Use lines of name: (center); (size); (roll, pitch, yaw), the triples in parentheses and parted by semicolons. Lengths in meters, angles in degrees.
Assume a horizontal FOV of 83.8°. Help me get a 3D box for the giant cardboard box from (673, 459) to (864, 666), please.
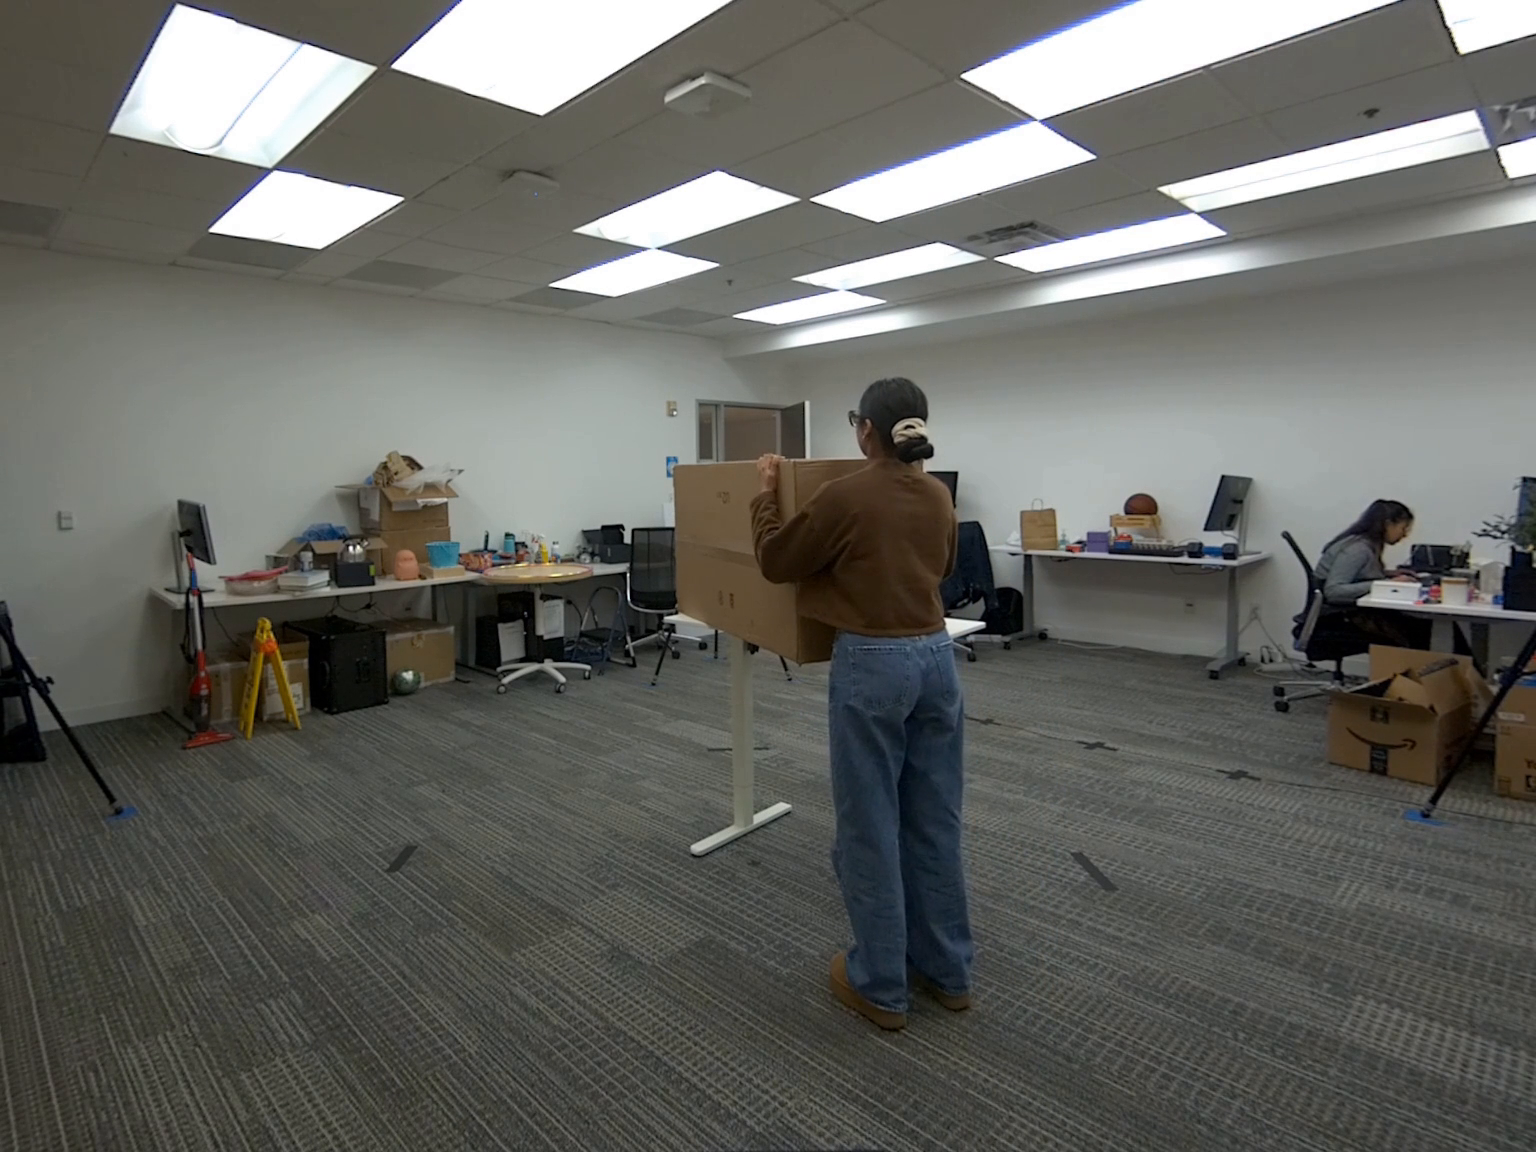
giant cardboard box: (0.047, -0.102, 2.919); (0.418, 0.574, 1.052); (-4, 7, -25)
